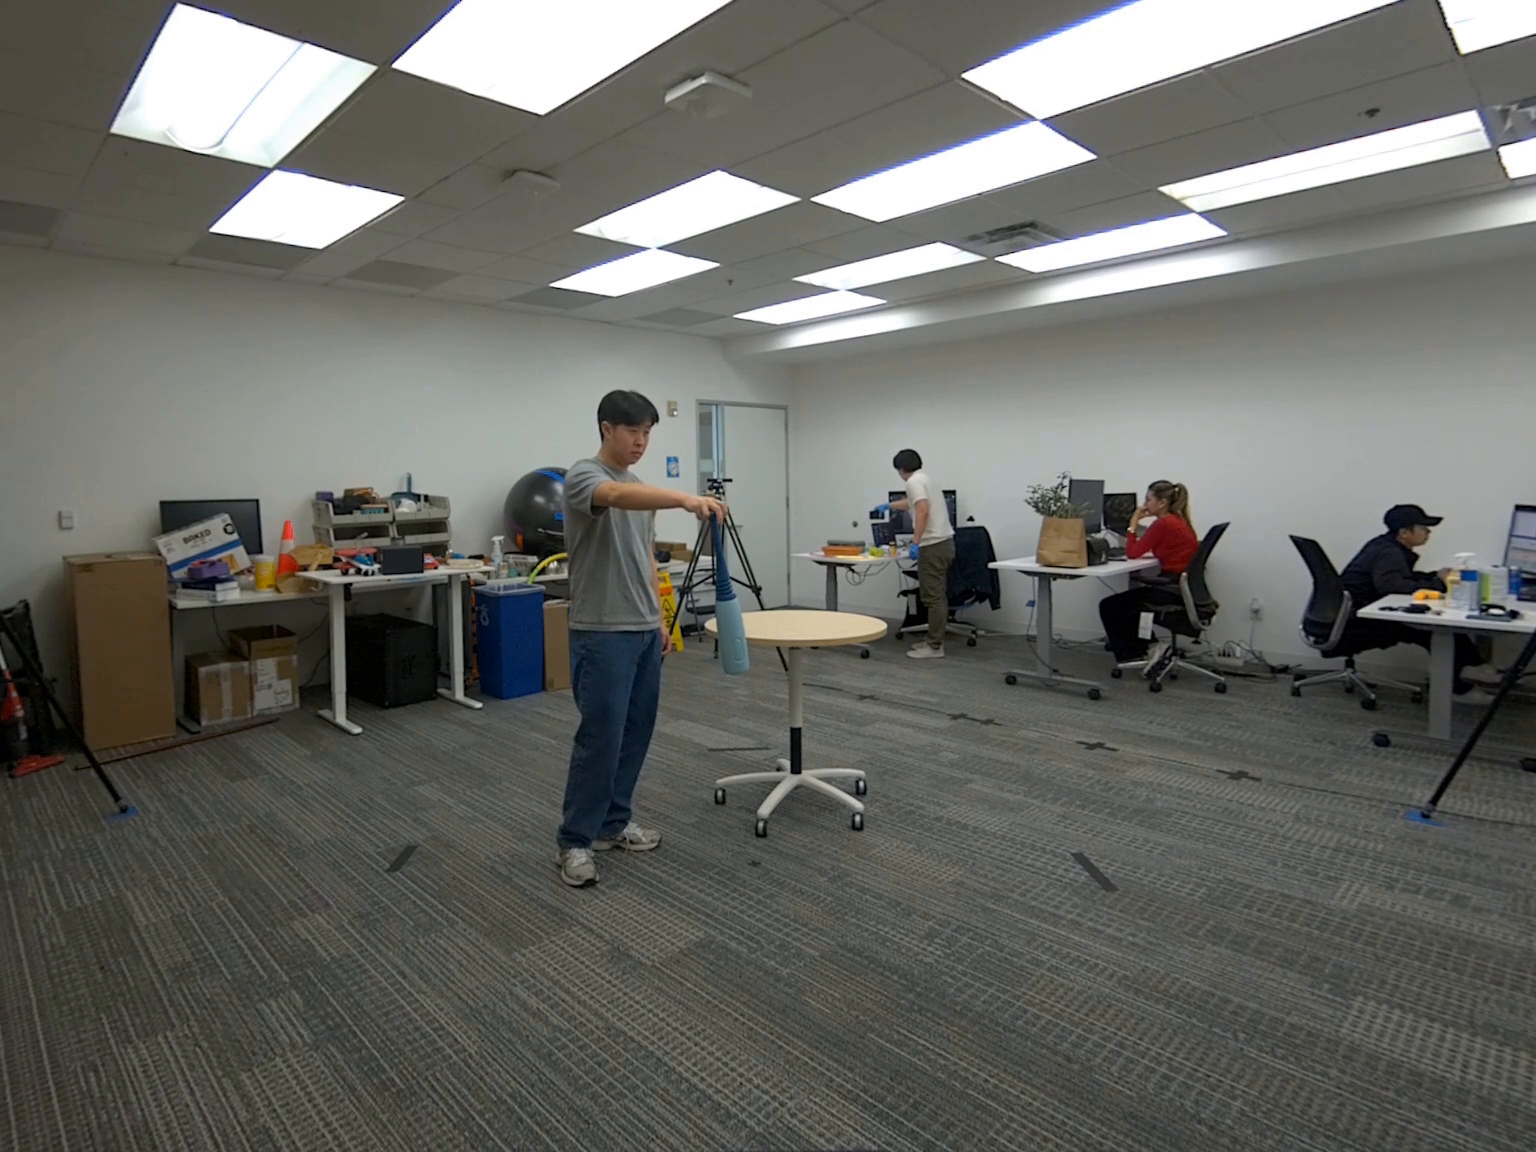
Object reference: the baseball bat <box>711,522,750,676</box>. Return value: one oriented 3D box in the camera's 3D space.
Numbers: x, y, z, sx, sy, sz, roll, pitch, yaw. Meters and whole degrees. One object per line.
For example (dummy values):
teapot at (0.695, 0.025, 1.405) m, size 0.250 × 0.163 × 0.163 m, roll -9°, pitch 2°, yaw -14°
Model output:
baseball bat at (-0.140, 0.056, 2.748) m, size 0.089 × 0.538 × 0.090 m, roll -7°, pitch 9°, yaw 0°
